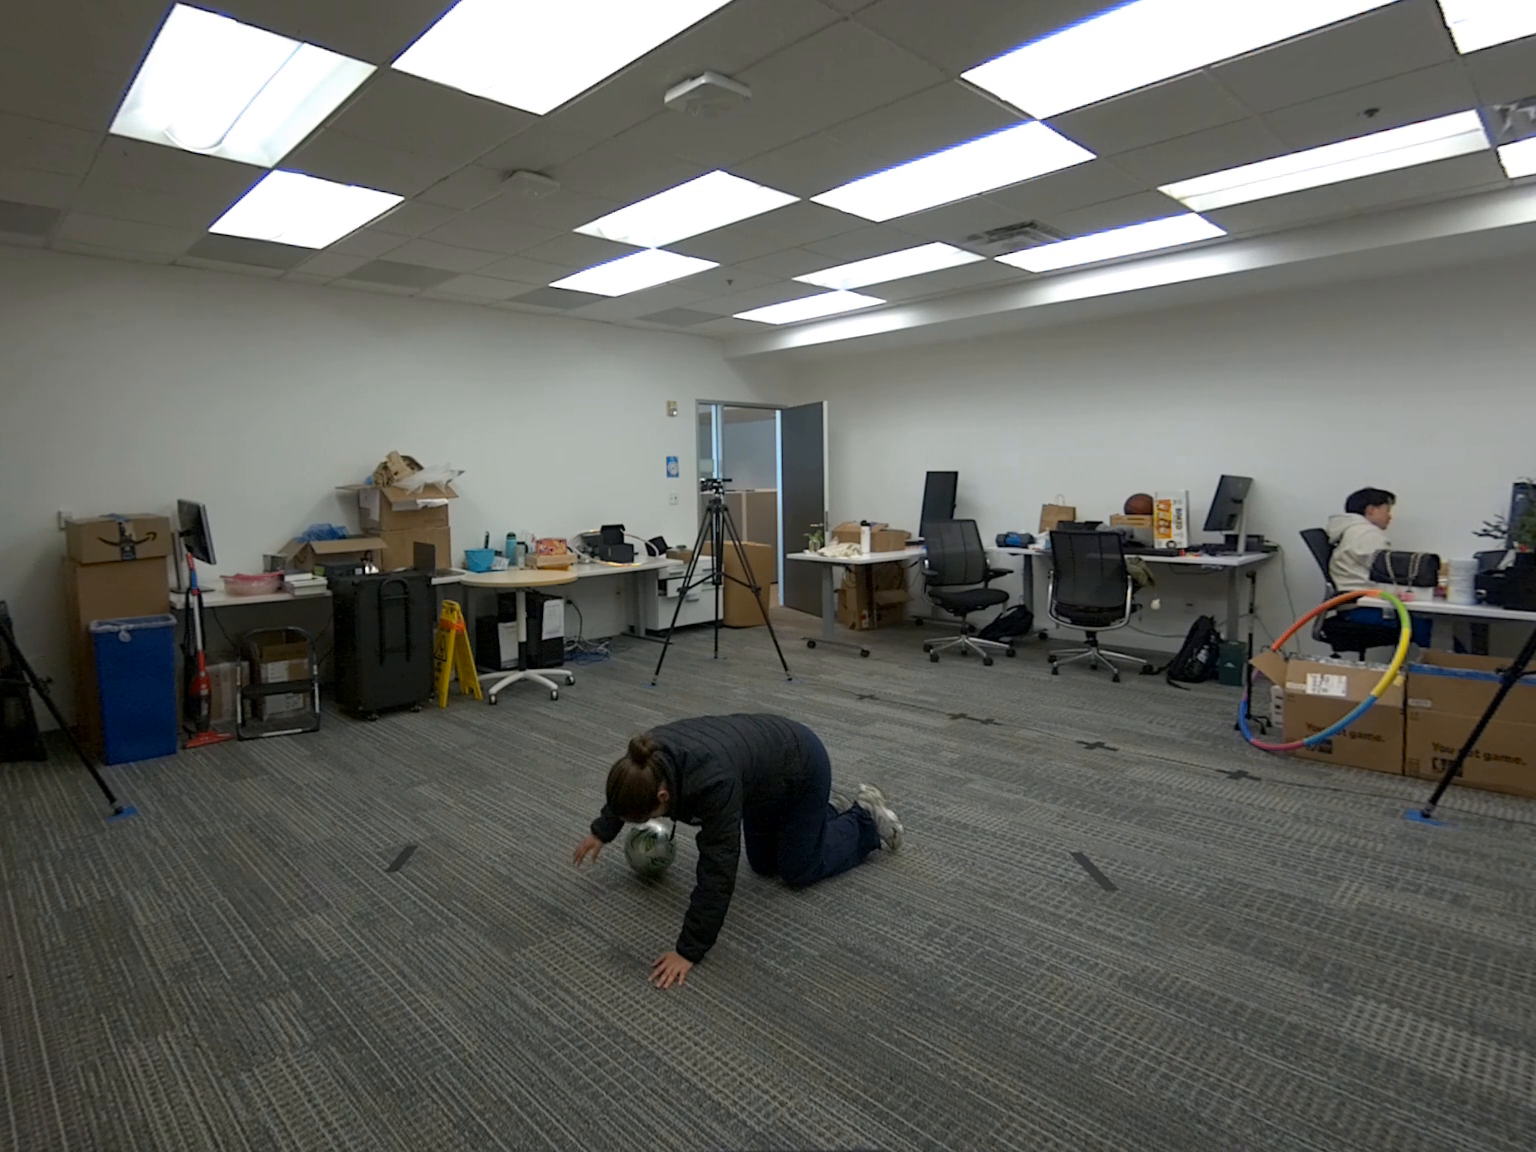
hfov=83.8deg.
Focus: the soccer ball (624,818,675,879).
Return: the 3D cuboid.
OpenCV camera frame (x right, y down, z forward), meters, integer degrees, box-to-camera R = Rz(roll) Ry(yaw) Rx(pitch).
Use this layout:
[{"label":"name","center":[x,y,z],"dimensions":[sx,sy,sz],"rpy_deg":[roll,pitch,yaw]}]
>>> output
[{"label":"soccer ball","center":[-0.408,0.962,3.035],"dimensions":[0.187,0.187,0.188],"rpy_deg":[-1,5,-2]}]
